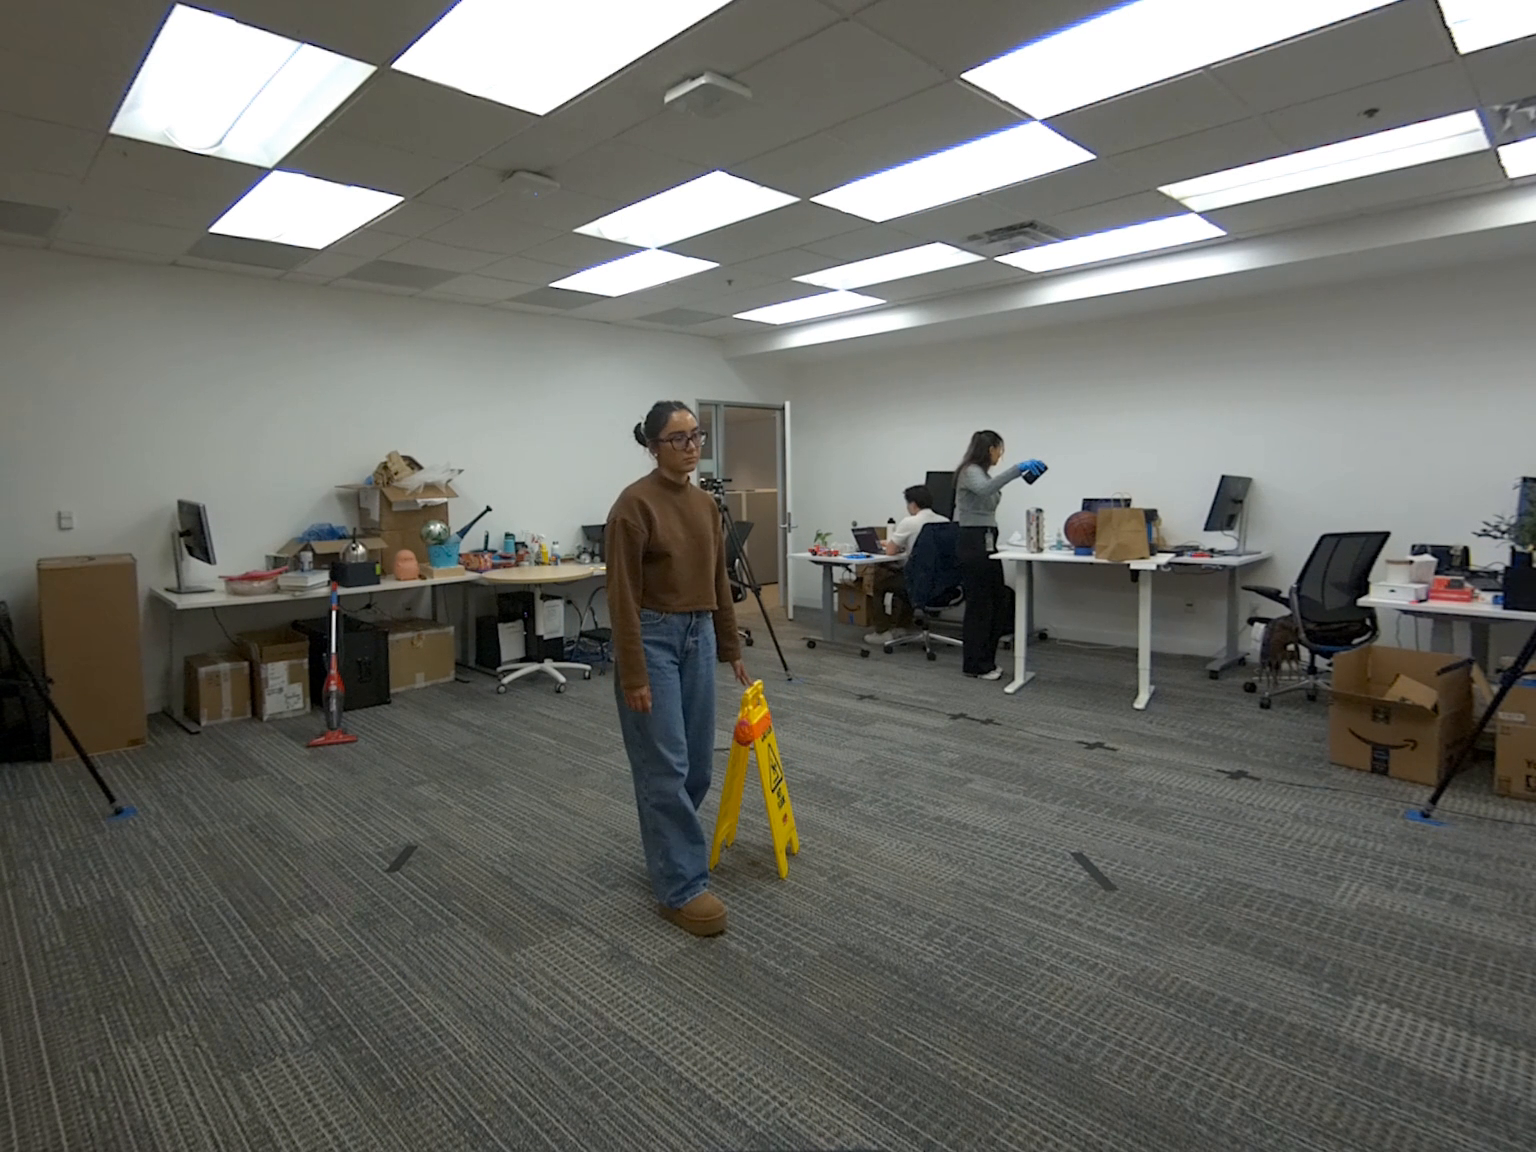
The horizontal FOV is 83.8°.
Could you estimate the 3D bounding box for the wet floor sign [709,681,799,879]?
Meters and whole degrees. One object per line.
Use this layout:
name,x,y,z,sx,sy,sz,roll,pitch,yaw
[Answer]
wet floor sign,-0.051,0.716,3.127,0.294,0.644,0.279,-1,3,15
